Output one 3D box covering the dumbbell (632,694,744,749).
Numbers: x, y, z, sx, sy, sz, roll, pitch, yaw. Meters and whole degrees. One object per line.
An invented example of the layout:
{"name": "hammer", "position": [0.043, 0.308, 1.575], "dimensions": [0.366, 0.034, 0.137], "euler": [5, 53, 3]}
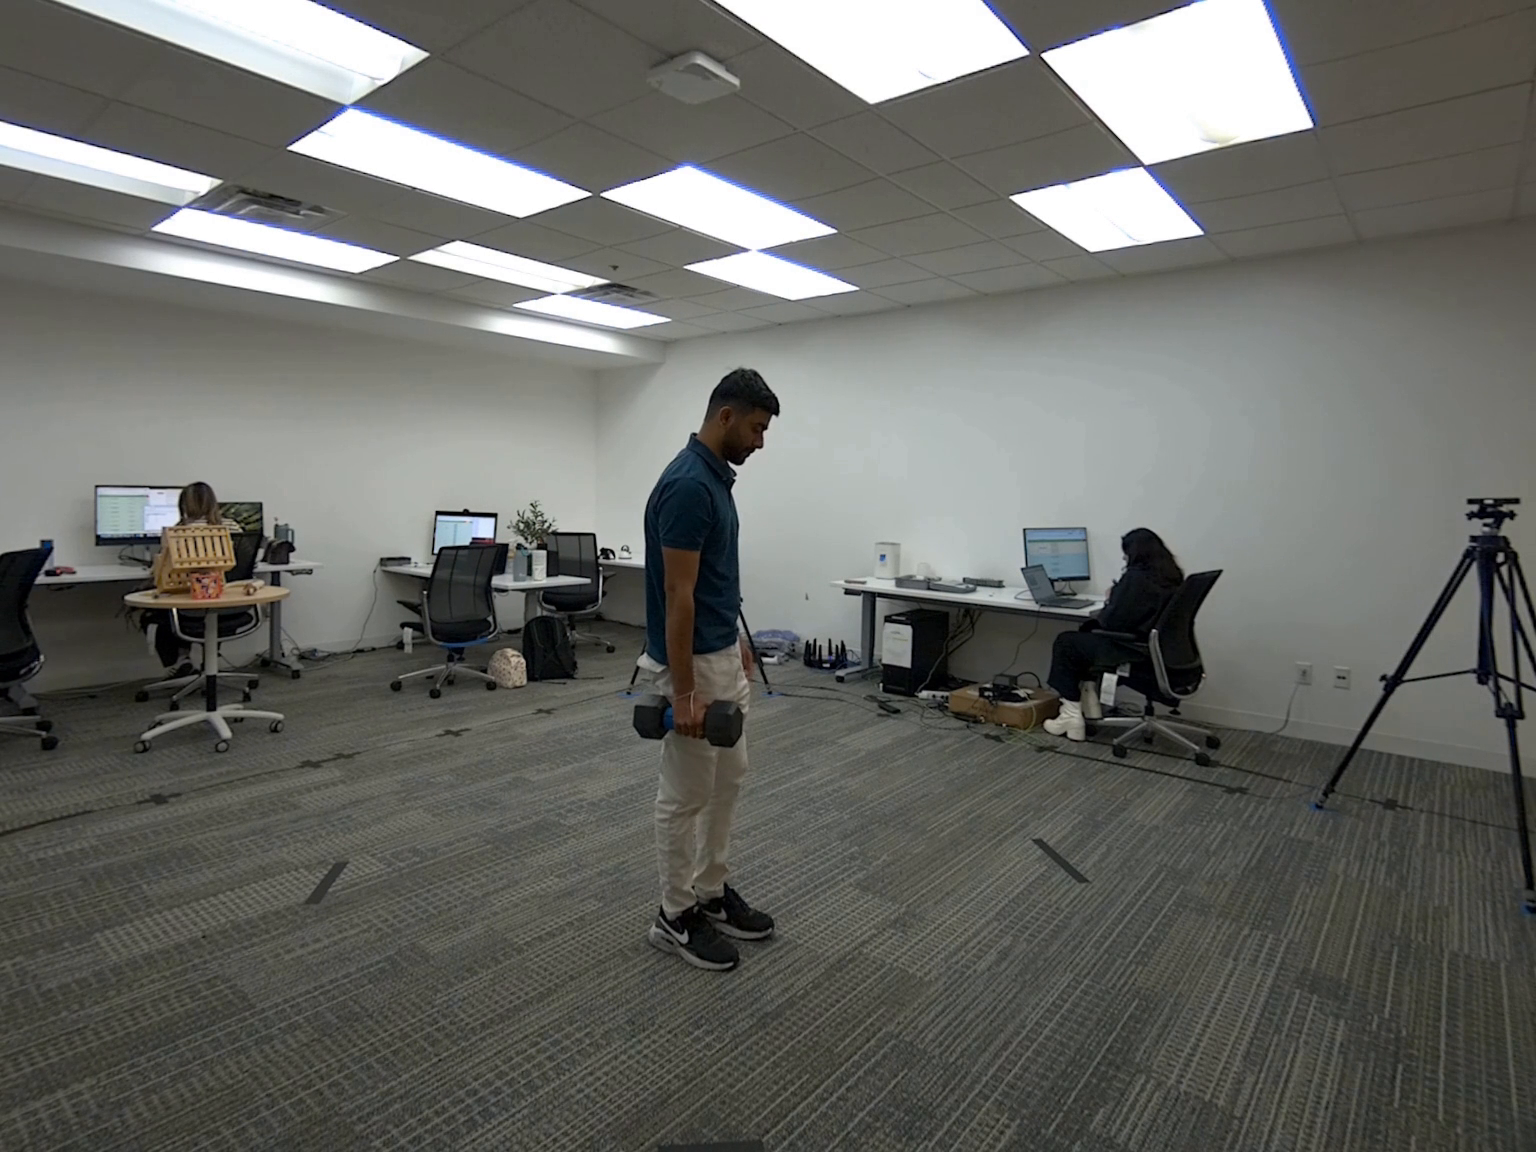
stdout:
{"name": "dumbbell", "position": [-0.231, 0.391, 2.323], "dimensions": [0.300, 0.110, 0.118], "euler": [1, -38, 21]}
